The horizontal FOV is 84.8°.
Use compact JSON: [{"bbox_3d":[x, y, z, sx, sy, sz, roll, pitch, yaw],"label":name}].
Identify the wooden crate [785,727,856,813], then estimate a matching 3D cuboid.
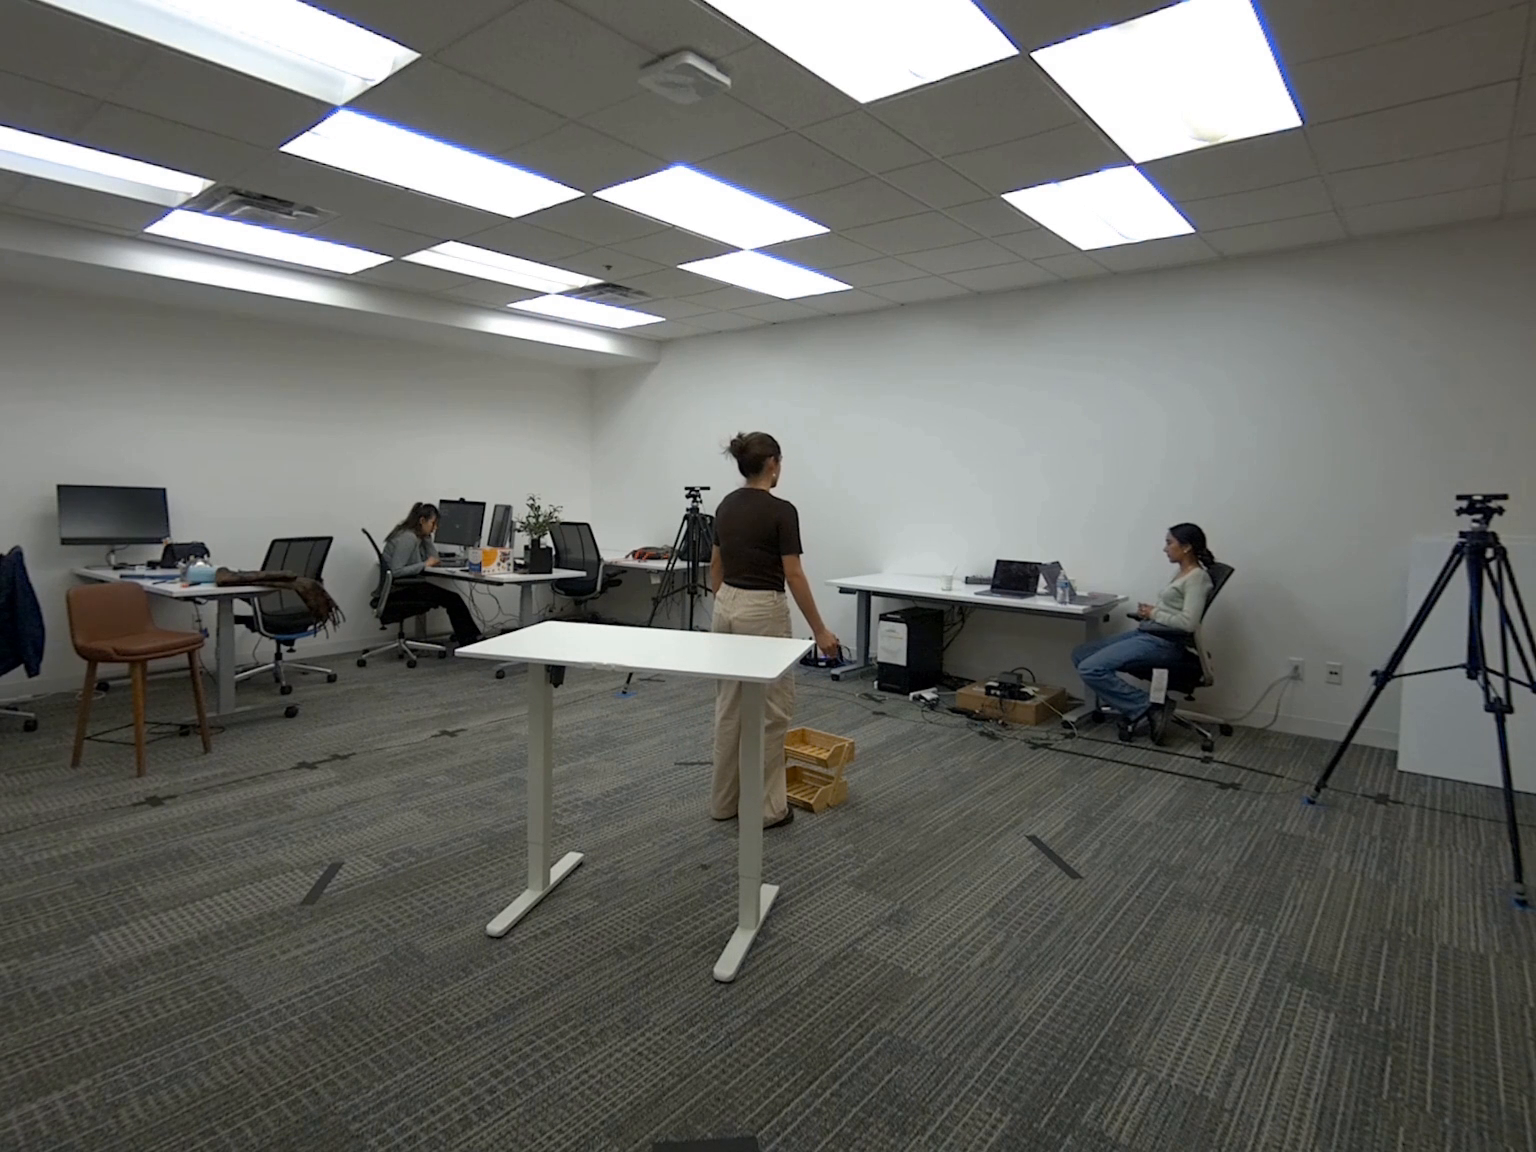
[{"bbox_3d":[0.170,0.861,3.856,0.335,0.273,0.293,4,5,43],"label":"wooden crate"}]
